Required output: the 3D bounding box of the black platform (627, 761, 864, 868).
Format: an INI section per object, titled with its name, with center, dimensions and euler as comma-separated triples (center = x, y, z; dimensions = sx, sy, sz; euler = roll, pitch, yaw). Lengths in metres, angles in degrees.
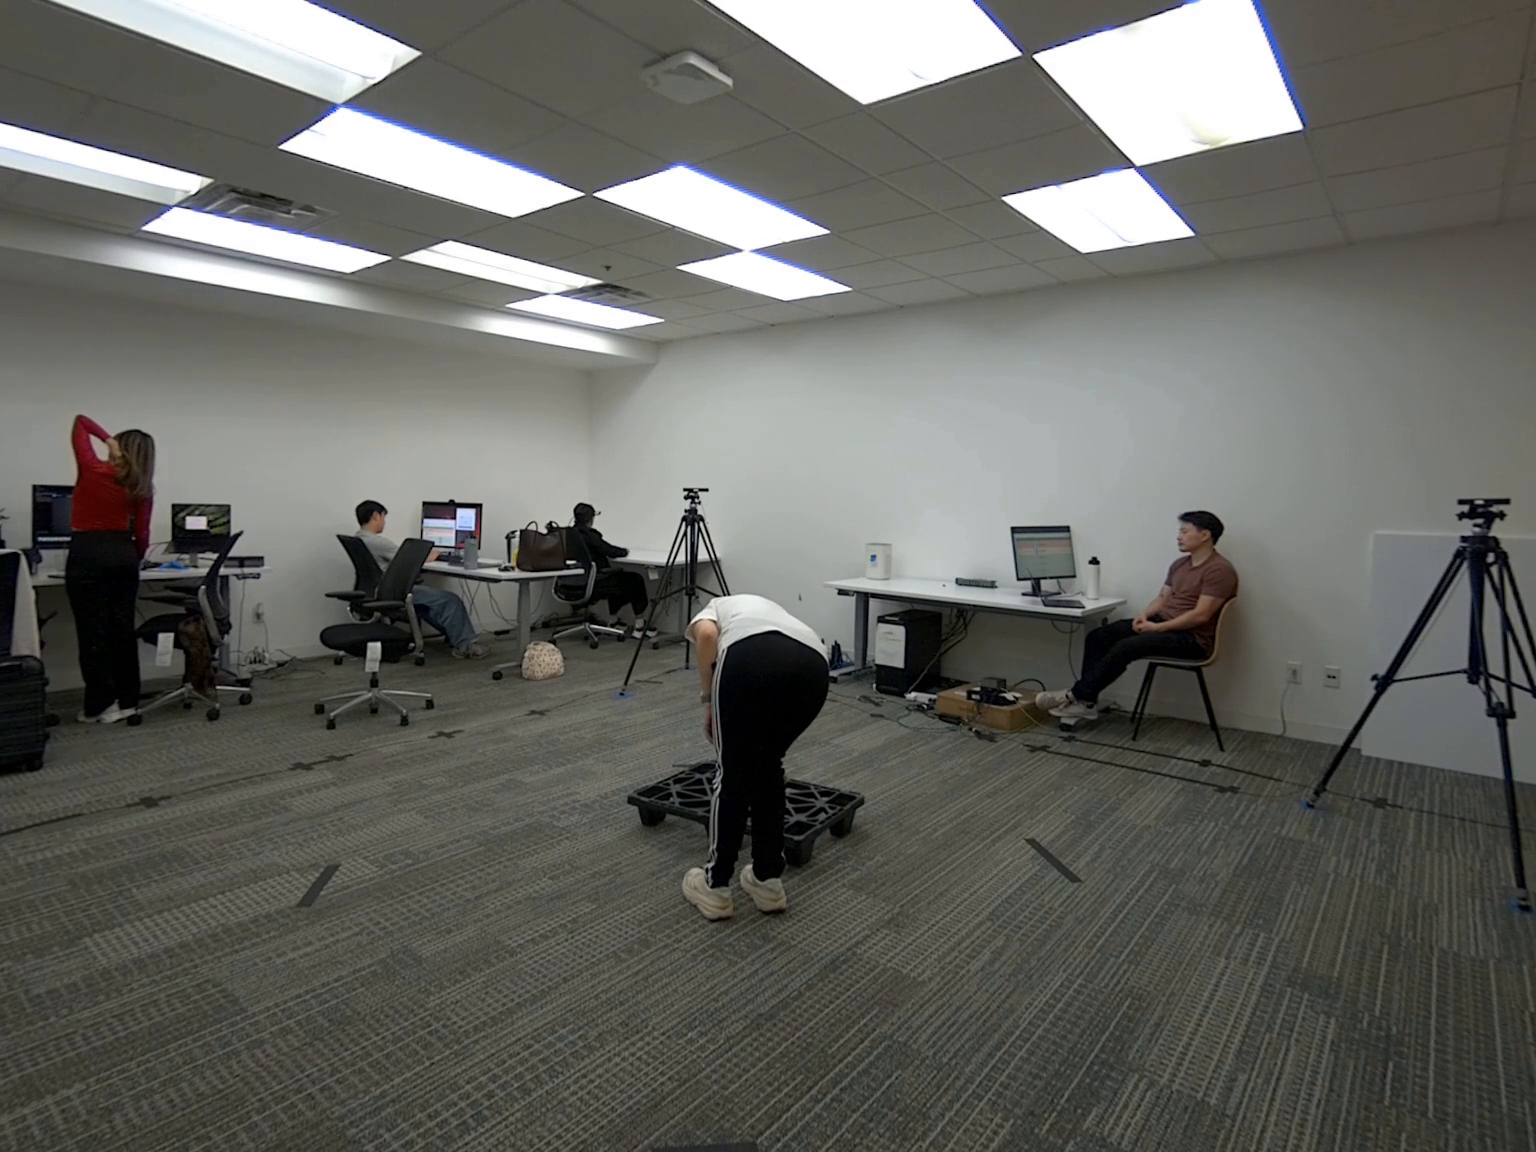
[black platform]
center = -0.100, 0.962, 3.510
dimensions = 0.830, 0.143, 0.588
euler = 4, 5, 31
